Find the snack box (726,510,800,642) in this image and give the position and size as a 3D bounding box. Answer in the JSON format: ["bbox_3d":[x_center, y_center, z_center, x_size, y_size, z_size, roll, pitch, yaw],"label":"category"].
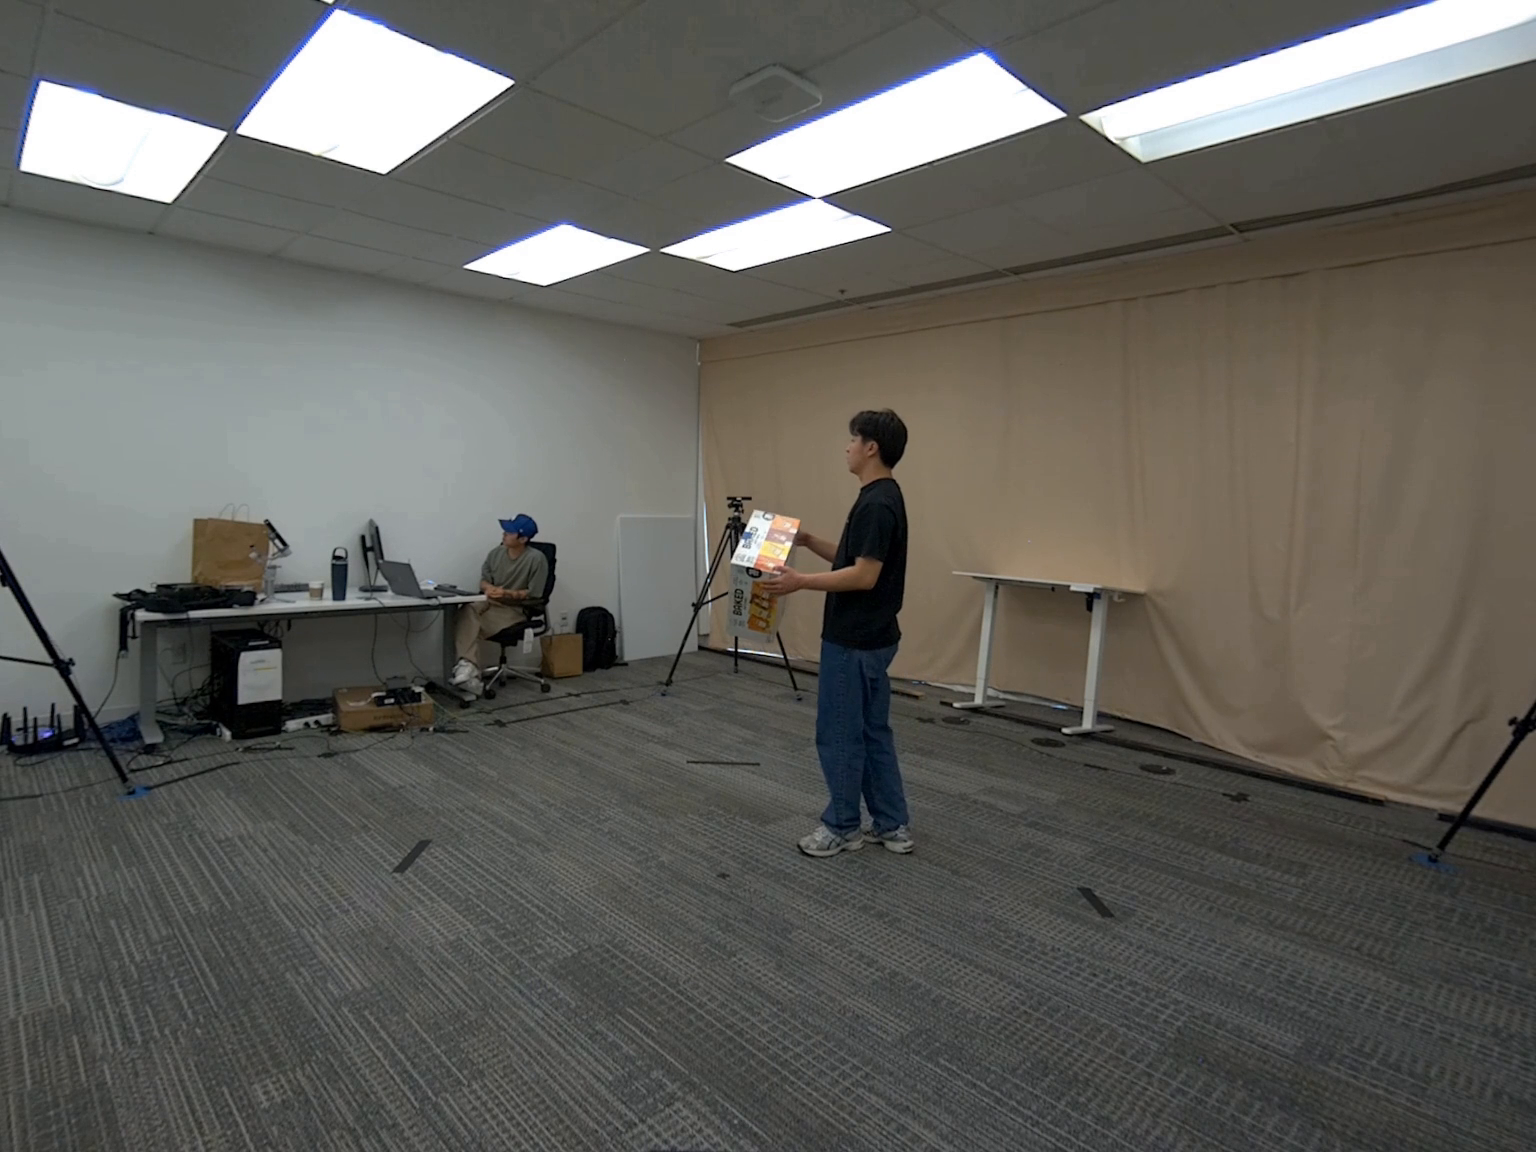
[{"bbox_3d":[-0.024,0.010,3.460,0.208,0.397,0.344,14,43,9],"label":"snack box"}]
